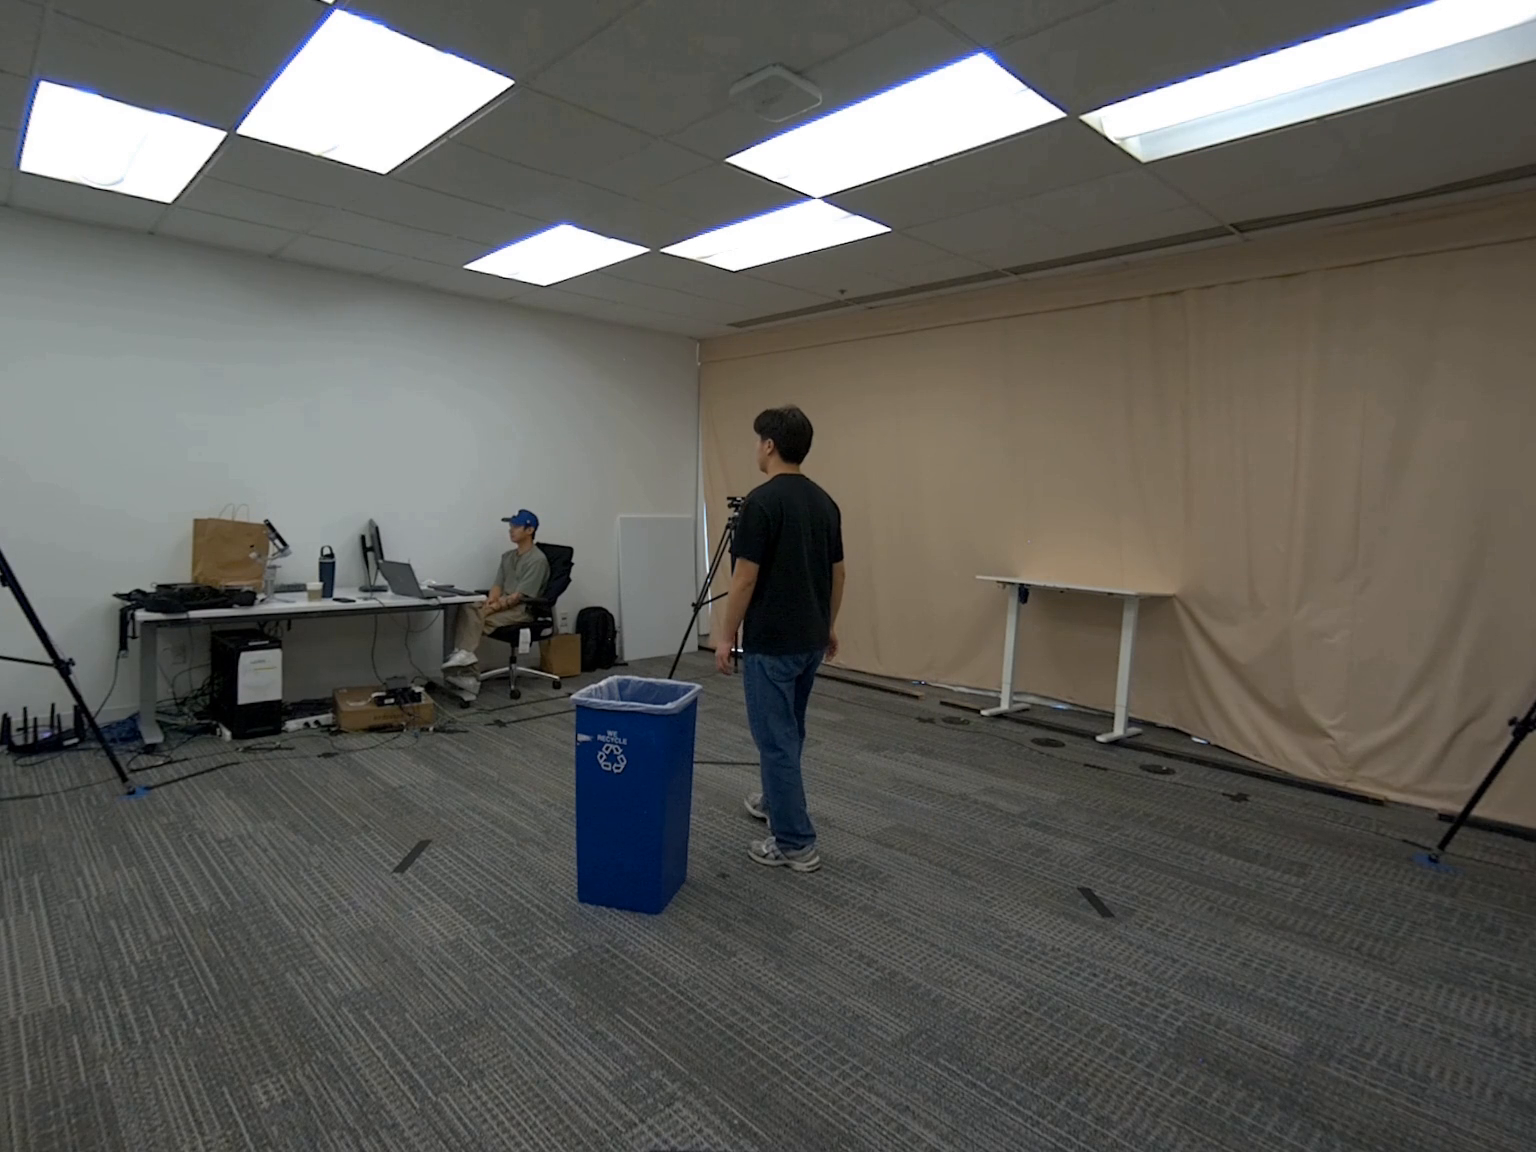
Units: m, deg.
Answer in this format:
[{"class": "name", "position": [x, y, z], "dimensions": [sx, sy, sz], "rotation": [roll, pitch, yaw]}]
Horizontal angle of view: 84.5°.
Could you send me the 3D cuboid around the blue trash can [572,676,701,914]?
[{"class": "blue trash can", "position": [-0.473, 0.756, 2.954], "dimensions": [0.379, 0.712, 0.374], "rotation": [4, 4, 14]}]
